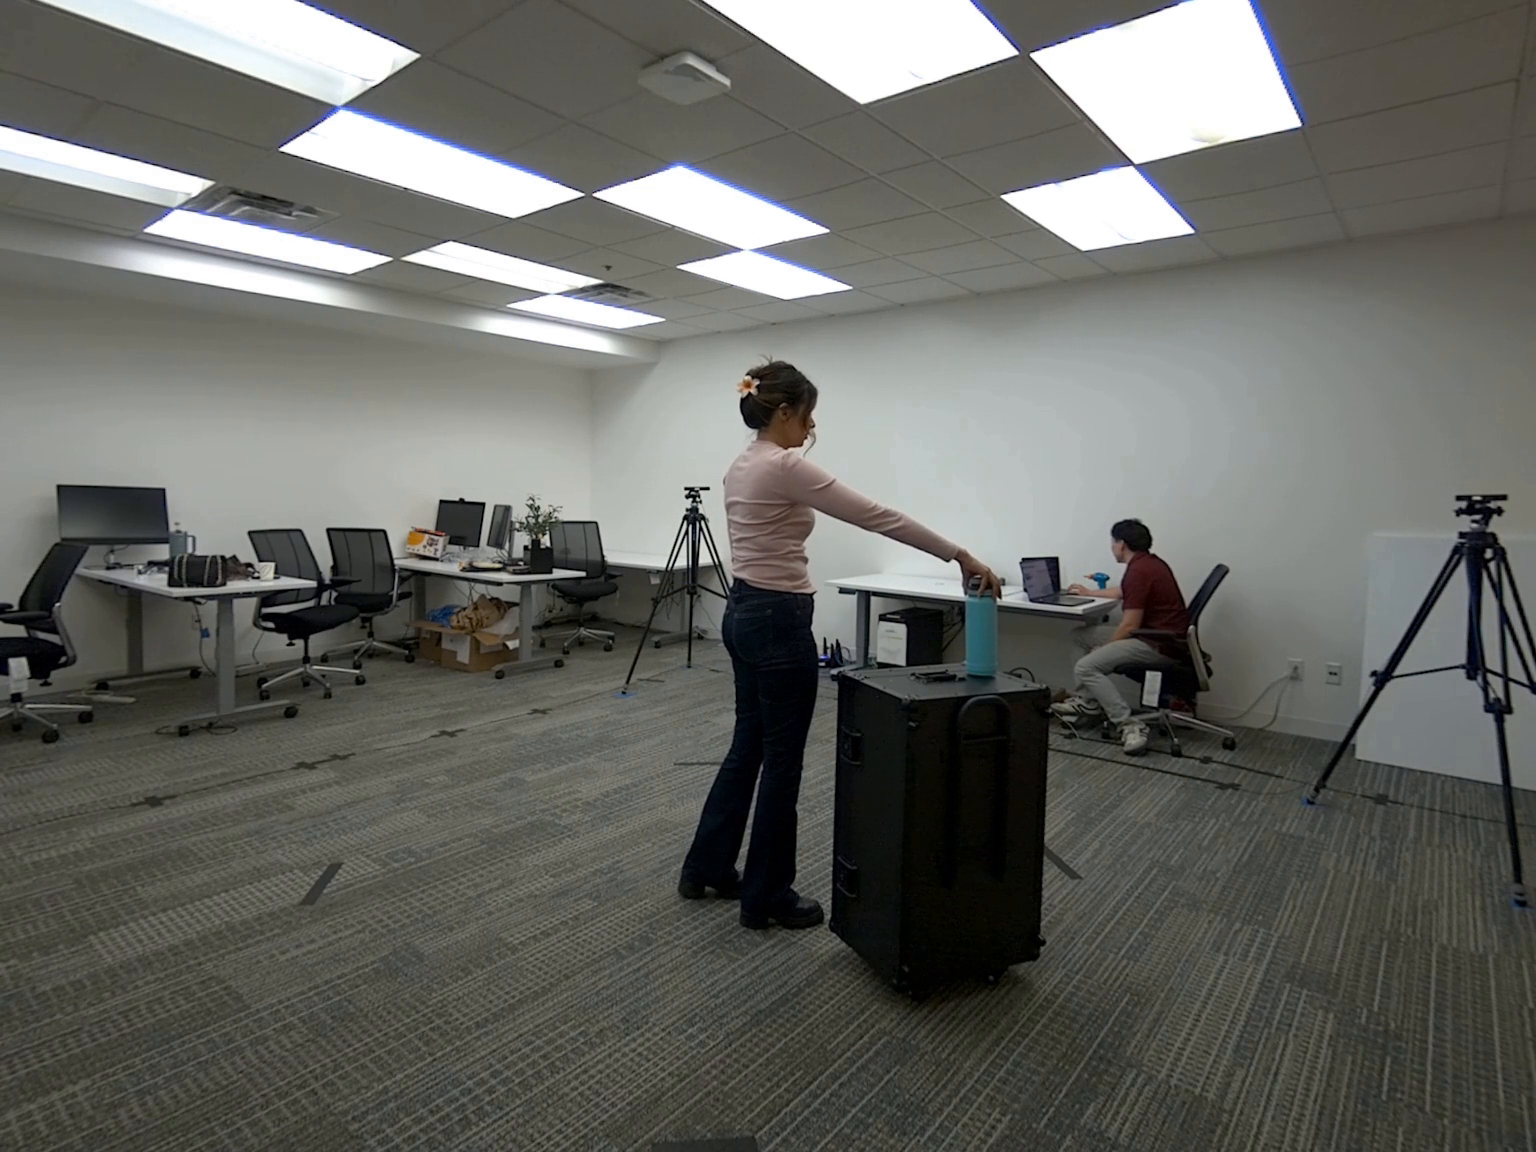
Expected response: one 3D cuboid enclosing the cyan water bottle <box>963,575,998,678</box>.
[{"bbox_3d":[0.628,0.147,2.508,0.092,0.283,0.093,1,3,-2],"label":"cyan water bottle"}]
